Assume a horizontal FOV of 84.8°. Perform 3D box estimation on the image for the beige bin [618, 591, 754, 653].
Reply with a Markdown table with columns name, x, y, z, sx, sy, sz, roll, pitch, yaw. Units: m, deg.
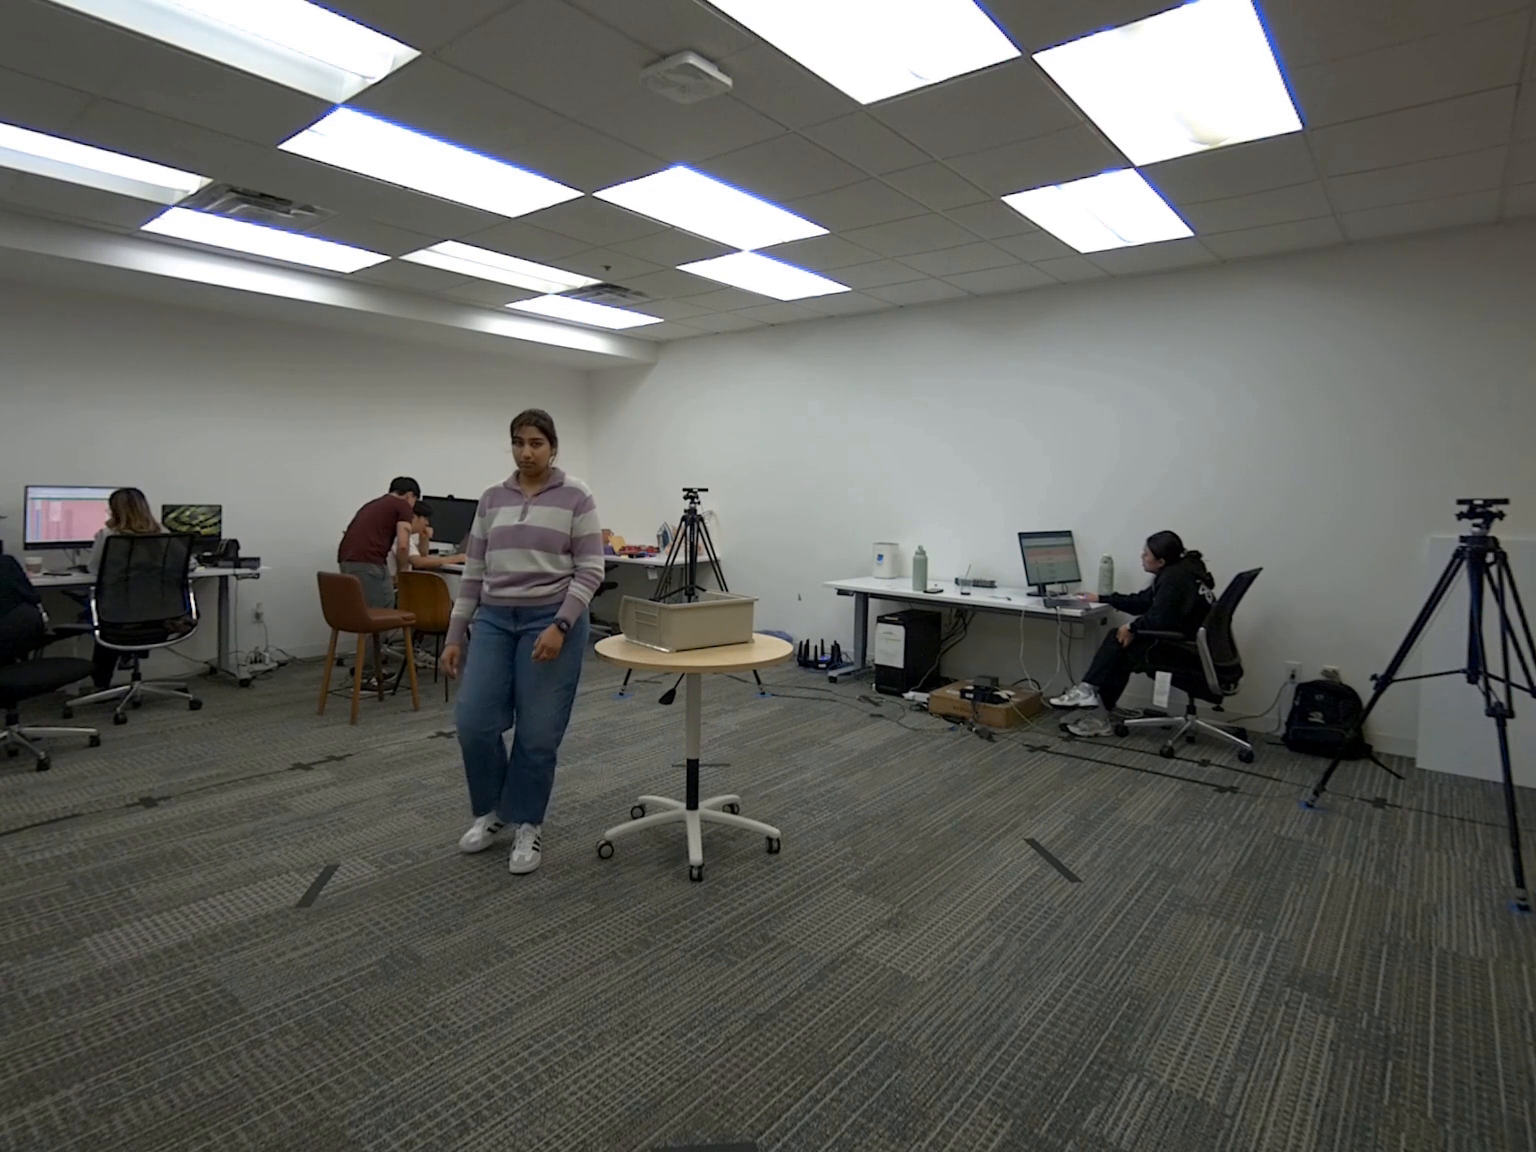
| name | x | y | z | sx | sy | sz | roll | pitch | yaw |
| --- | --- | --- | --- | --- | --- | --- | --- | --- | --- |
| beige bin | -0.333 | 0.172 | 3.383 | 0.410 | 0.188 | 0.390 | -3 | 8 | -39 |
